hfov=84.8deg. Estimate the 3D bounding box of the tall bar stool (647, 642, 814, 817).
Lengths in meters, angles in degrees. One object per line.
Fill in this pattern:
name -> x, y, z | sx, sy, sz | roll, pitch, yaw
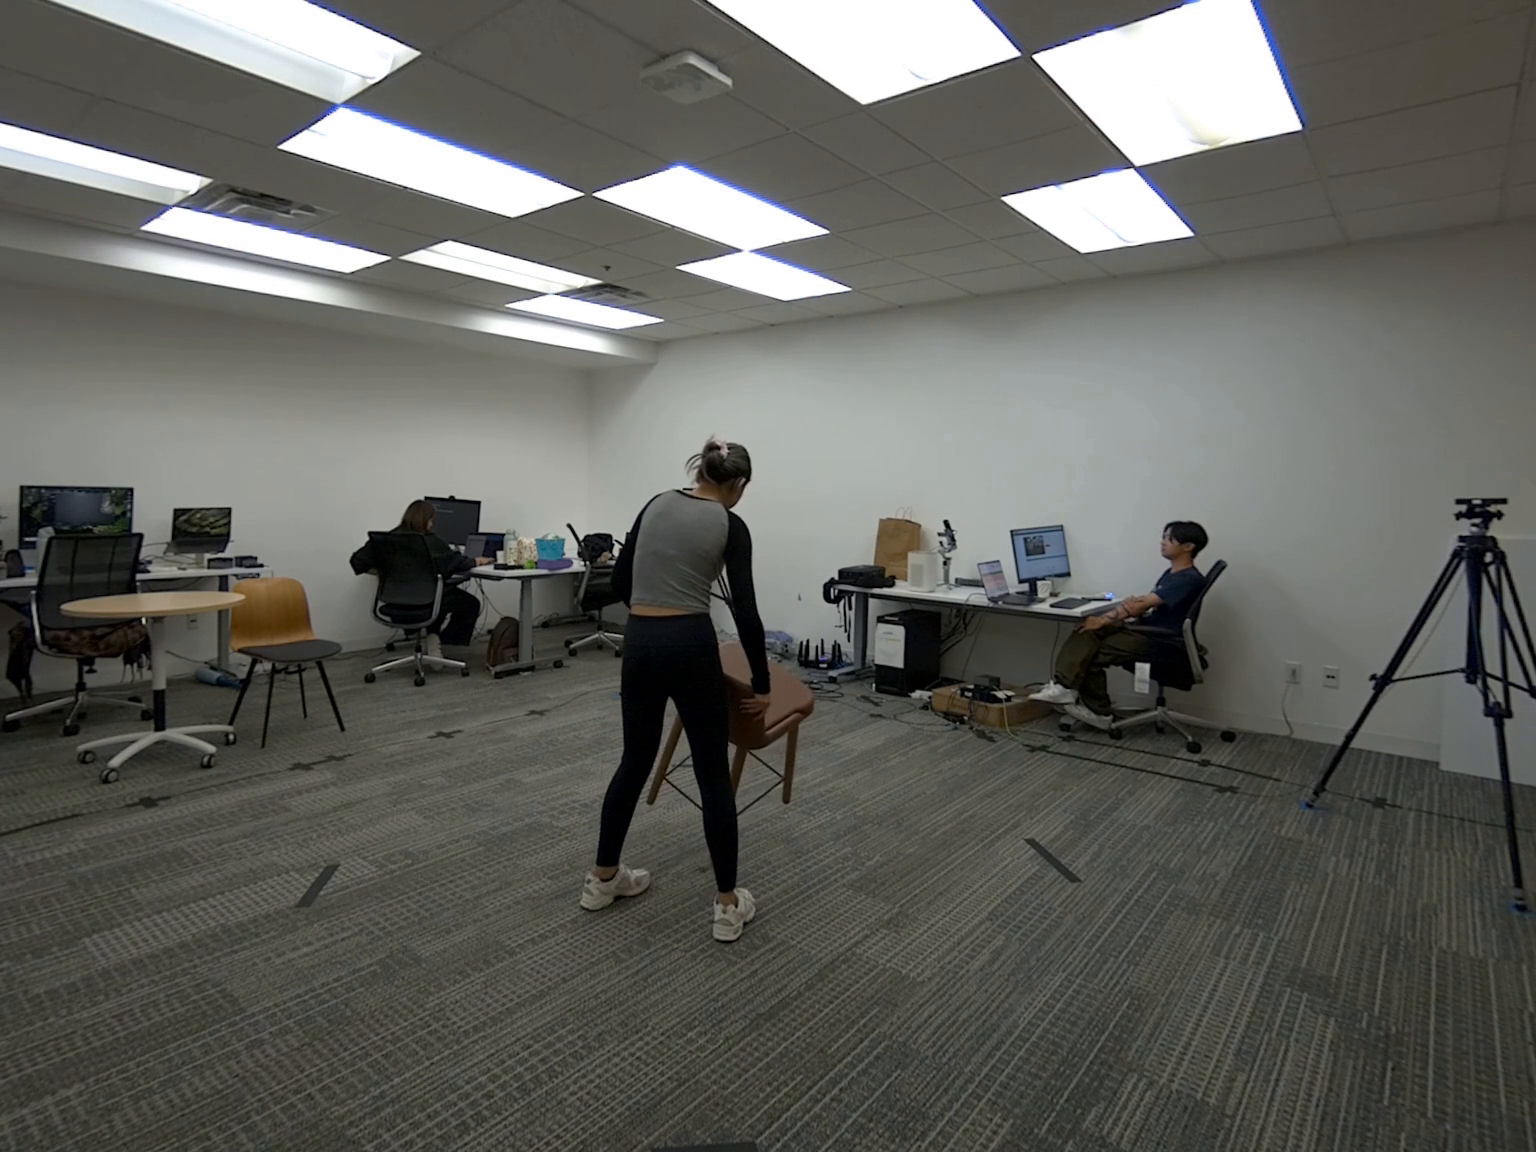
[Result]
tall bar stool -> -0.144, 0.551, 3.188 | 0.473, 0.870, 0.461 | 31, 39, 29
